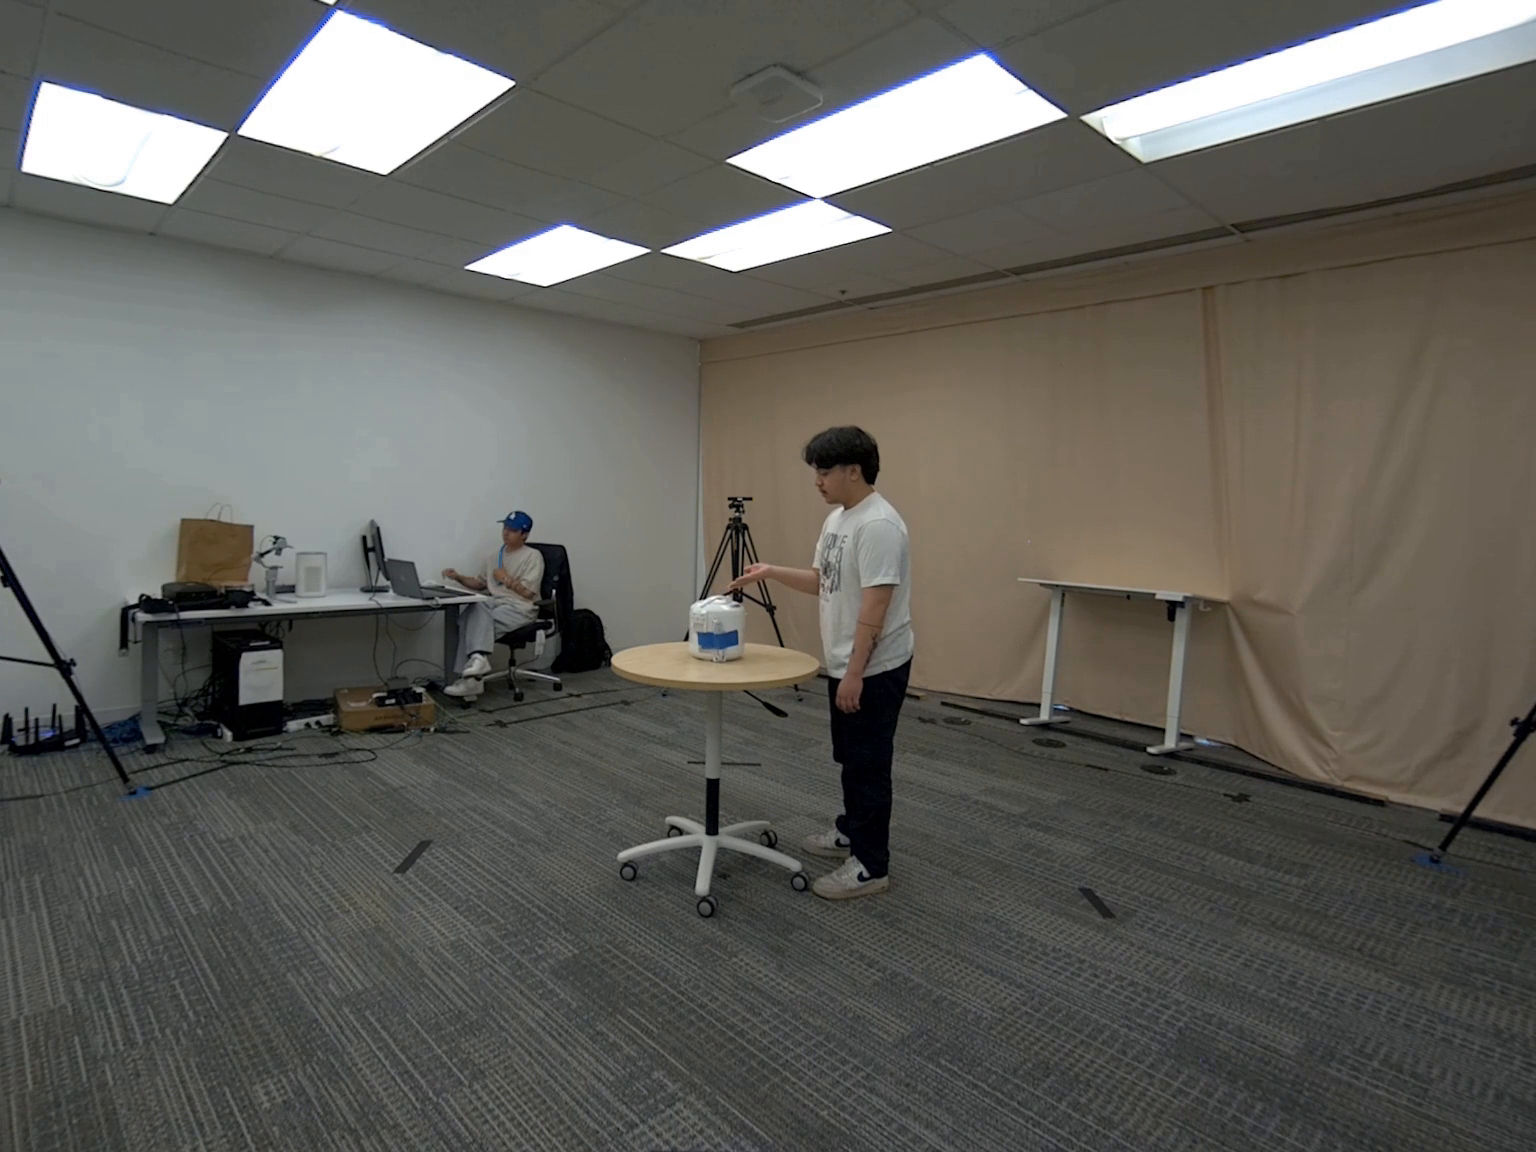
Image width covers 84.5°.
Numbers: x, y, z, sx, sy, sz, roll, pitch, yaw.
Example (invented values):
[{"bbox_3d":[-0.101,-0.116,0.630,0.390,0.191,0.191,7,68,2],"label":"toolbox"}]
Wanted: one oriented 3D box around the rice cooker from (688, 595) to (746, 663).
[{"bbox_3d":[-0.198,0.183,3.153,0.223,0.232,0.216,6,6,39],"label":"rice cooker"}]
